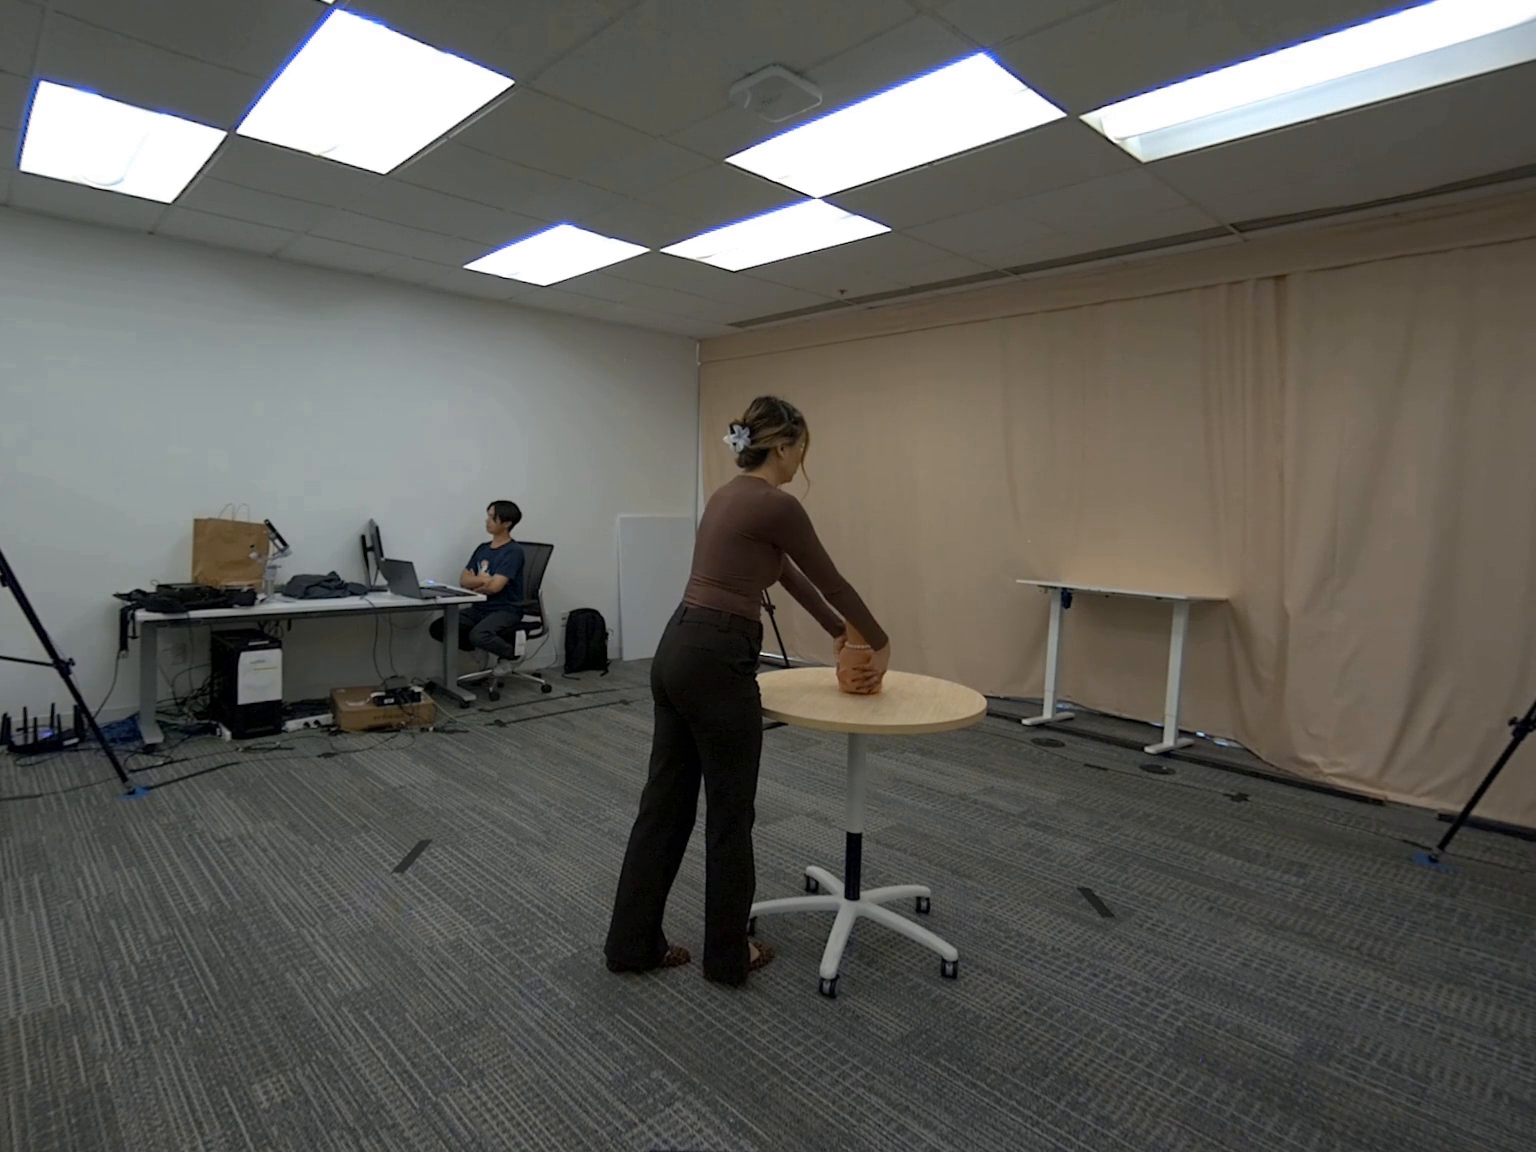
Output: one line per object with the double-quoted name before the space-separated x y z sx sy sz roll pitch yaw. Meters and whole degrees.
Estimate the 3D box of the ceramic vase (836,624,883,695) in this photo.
"ceramic vase" 0.291 0.244 2.622 0.136 0.219 0.158 1 5 10
